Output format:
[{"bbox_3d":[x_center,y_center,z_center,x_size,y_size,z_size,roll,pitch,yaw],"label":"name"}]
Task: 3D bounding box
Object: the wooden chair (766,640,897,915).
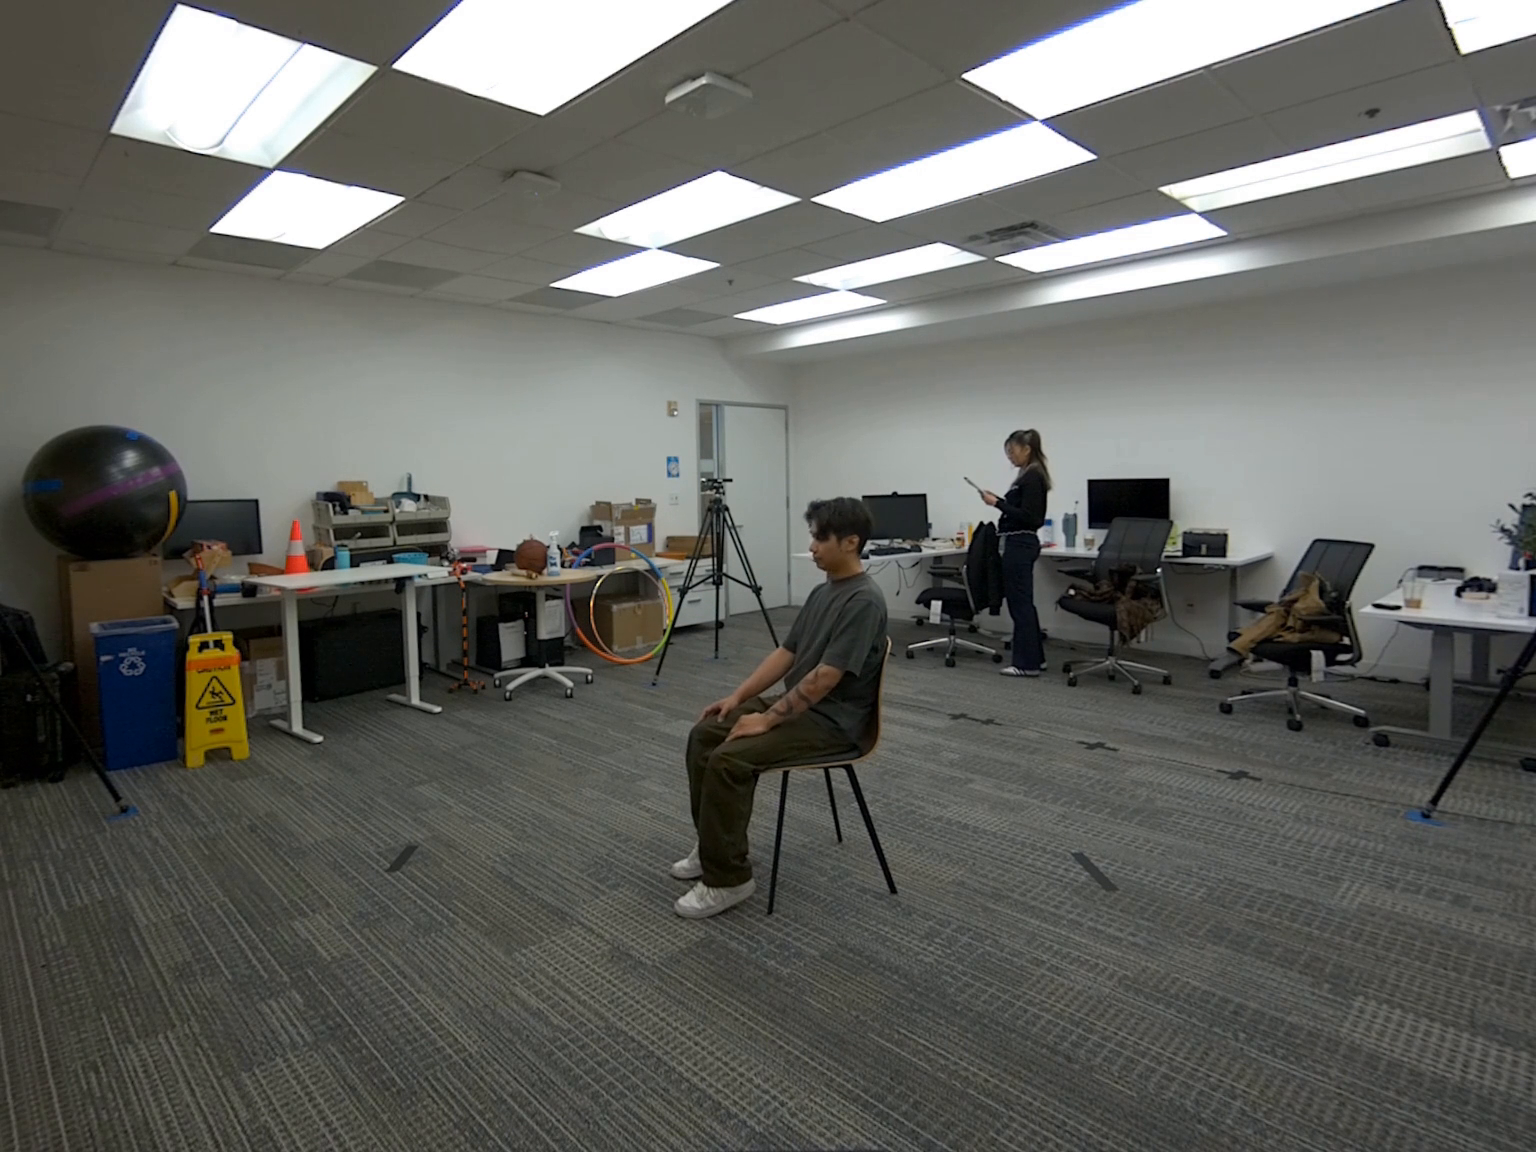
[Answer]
[{"bbox_3d":[0.136,0.621,2.979,0.514,0.875,0.488,2,4,-18],"label":"wooden chair"}]
